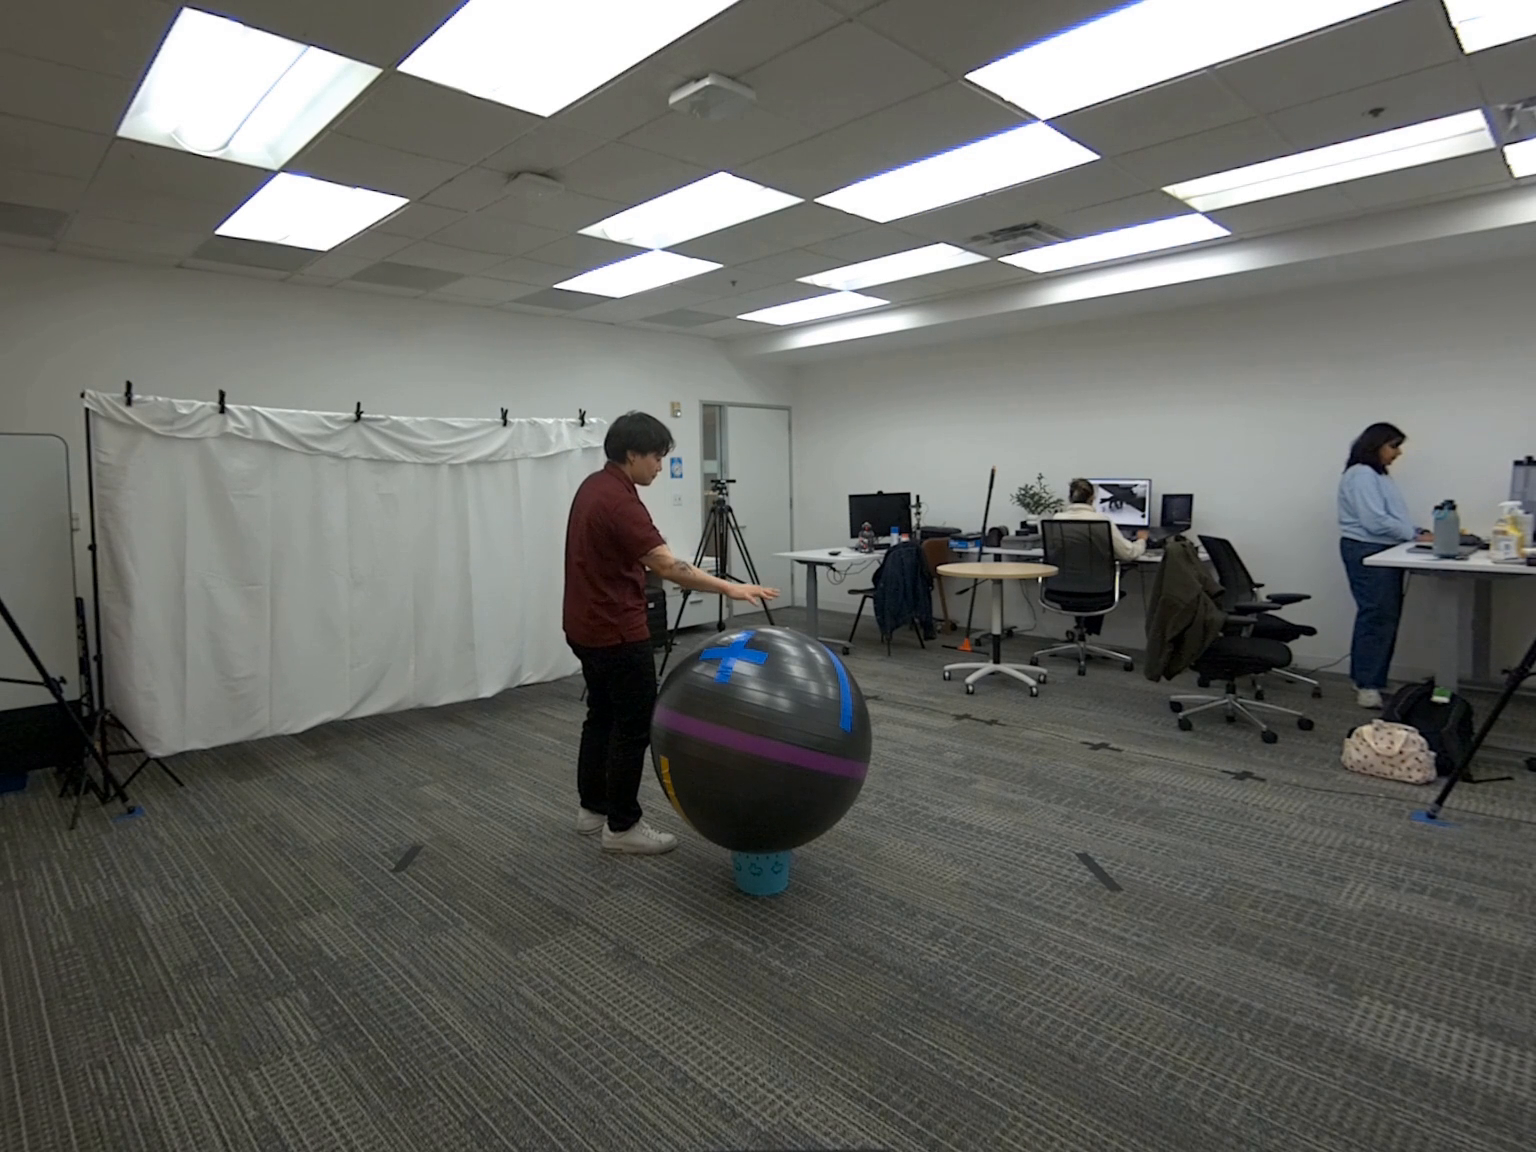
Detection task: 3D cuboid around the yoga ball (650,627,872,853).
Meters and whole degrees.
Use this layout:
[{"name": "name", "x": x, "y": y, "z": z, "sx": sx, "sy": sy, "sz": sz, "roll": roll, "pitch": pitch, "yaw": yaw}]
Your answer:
[{"name": "yoga ball", "x": -0.012, "y": 0.560, "z": 2.938, "sx": 0.757, "sy": 0.755, "sz": 0.762, "roll": -1, "pitch": 5, "yaw": -2}]
